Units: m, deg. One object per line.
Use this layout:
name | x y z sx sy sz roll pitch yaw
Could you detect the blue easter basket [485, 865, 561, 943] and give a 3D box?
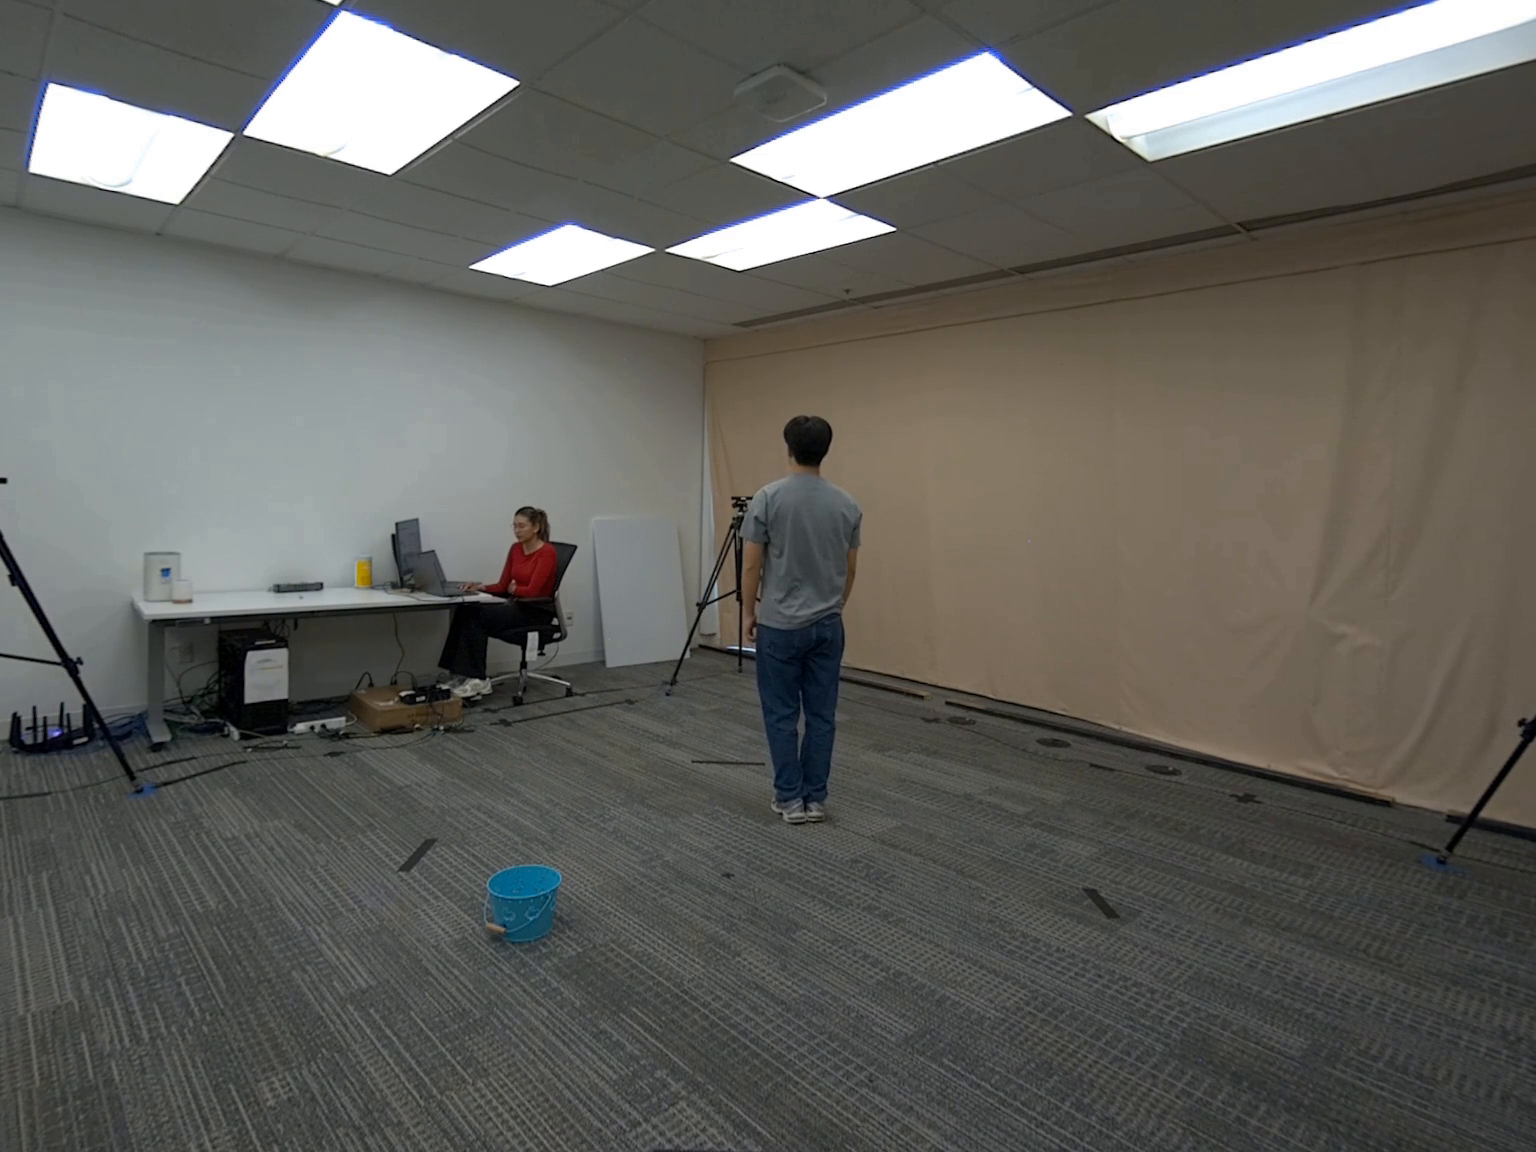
blue easter basket | -0.792 1.051 2.694 0.243 0.155 0.244 2 5 -1
